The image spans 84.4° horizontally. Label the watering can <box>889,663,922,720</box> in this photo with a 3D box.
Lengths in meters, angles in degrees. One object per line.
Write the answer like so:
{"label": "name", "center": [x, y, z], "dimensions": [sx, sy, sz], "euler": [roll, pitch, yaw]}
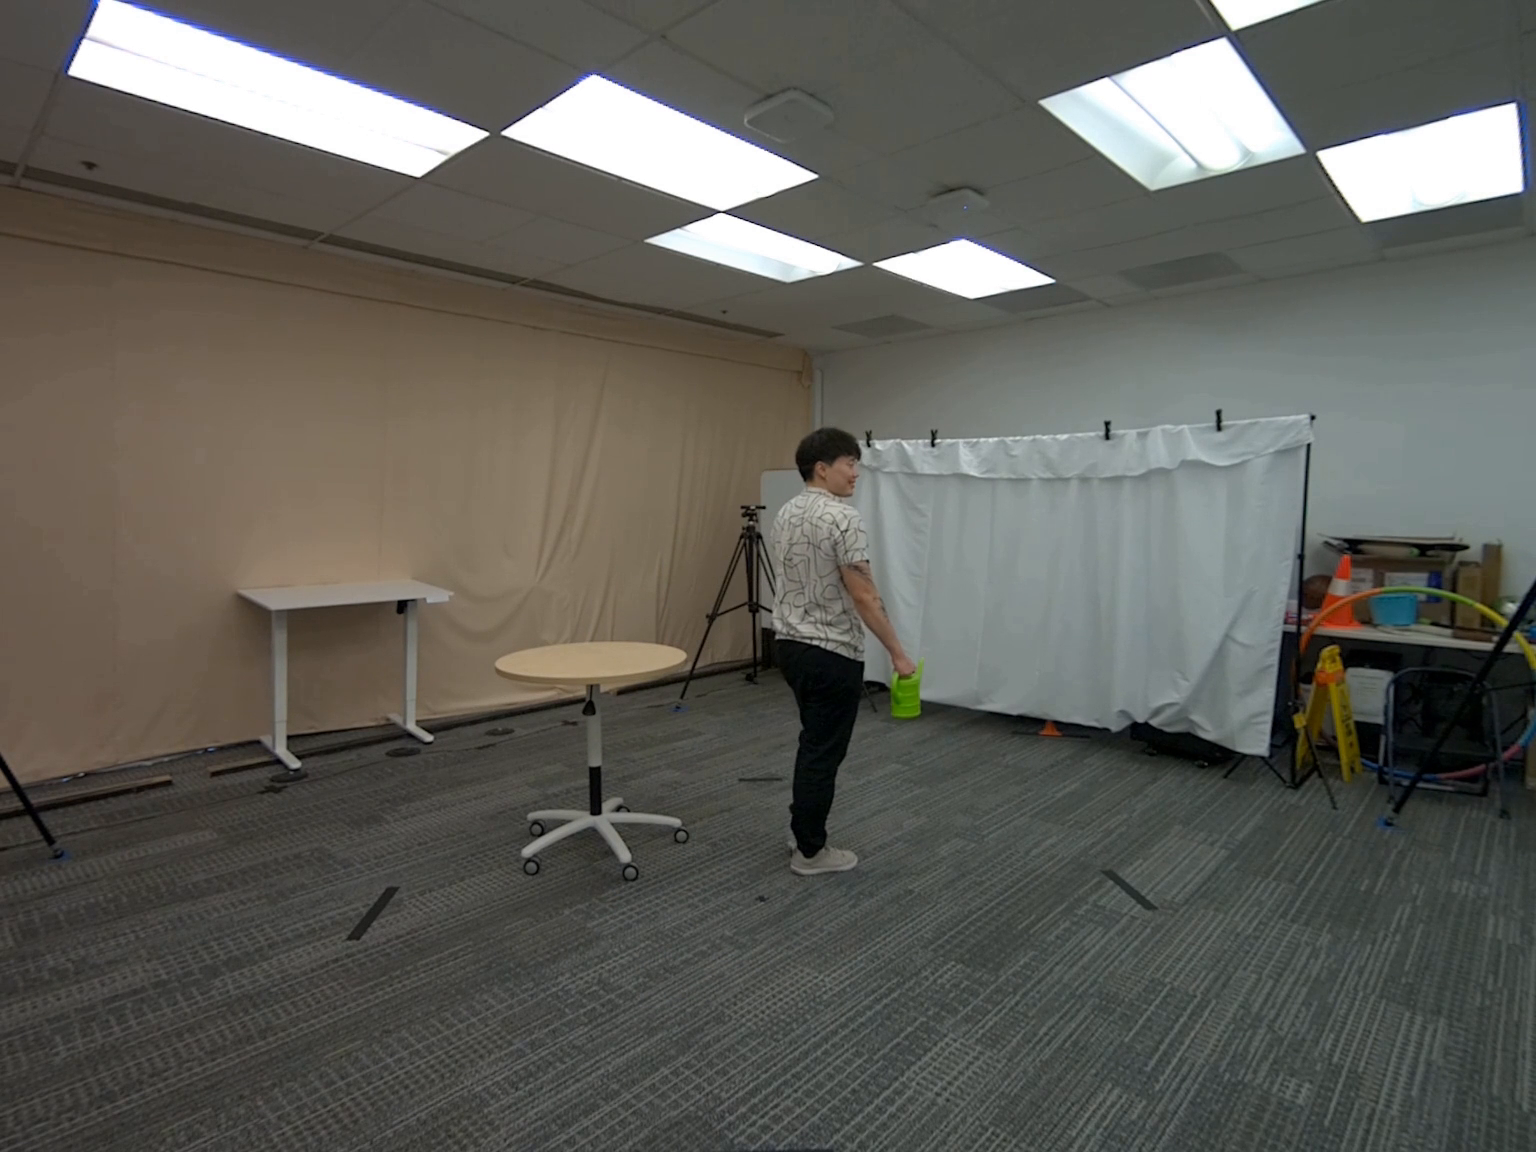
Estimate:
{"label": "watering can", "center": [0.520, 0.409, 3.030], "dimensions": [0.270, 0.176, 0.101], "euler": [-6, 4, -42]}
